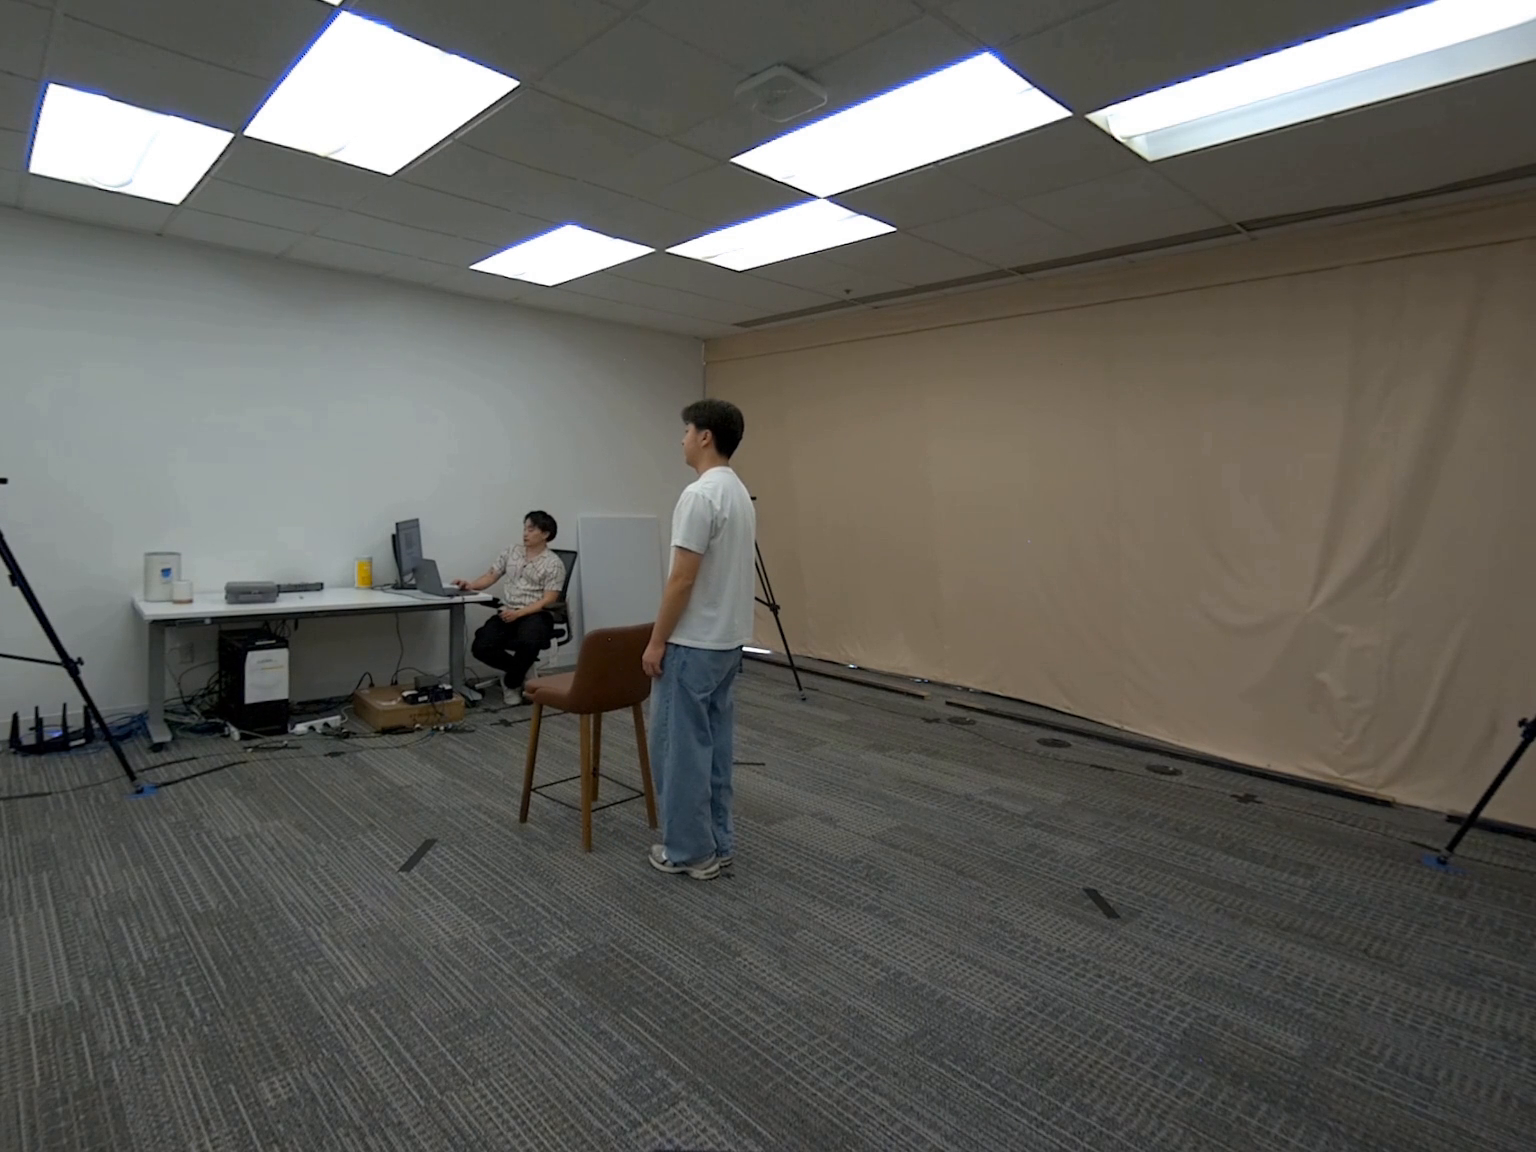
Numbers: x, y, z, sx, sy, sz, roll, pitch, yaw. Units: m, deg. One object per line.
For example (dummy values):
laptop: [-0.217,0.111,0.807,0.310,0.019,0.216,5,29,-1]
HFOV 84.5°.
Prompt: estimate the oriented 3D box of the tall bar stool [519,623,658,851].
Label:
tall bar stool: [-0.742,0.616,3.530,0.480,0.886,0.446,8,7,42]
